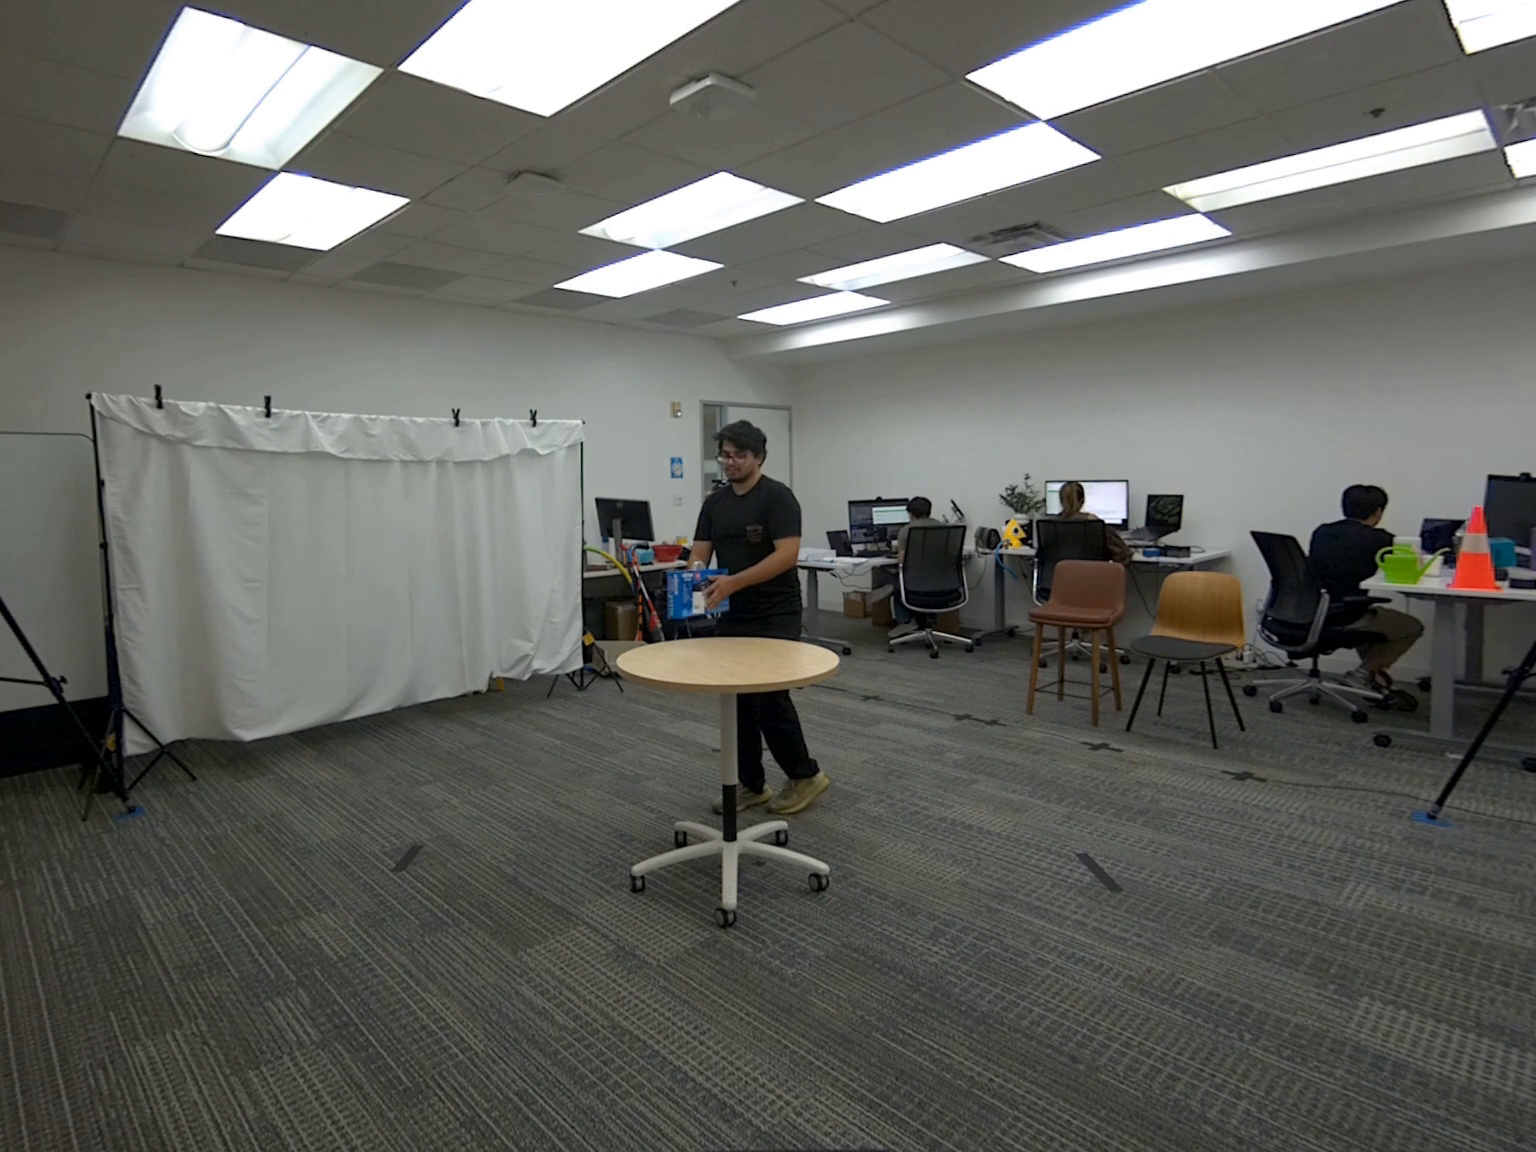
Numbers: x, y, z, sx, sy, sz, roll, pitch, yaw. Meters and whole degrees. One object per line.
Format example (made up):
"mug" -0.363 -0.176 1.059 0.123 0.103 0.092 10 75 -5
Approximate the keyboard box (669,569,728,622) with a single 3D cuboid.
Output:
"keyboard box" -0.262 0.068 3.281 0.060 0.176 0.429 -3 0 18
